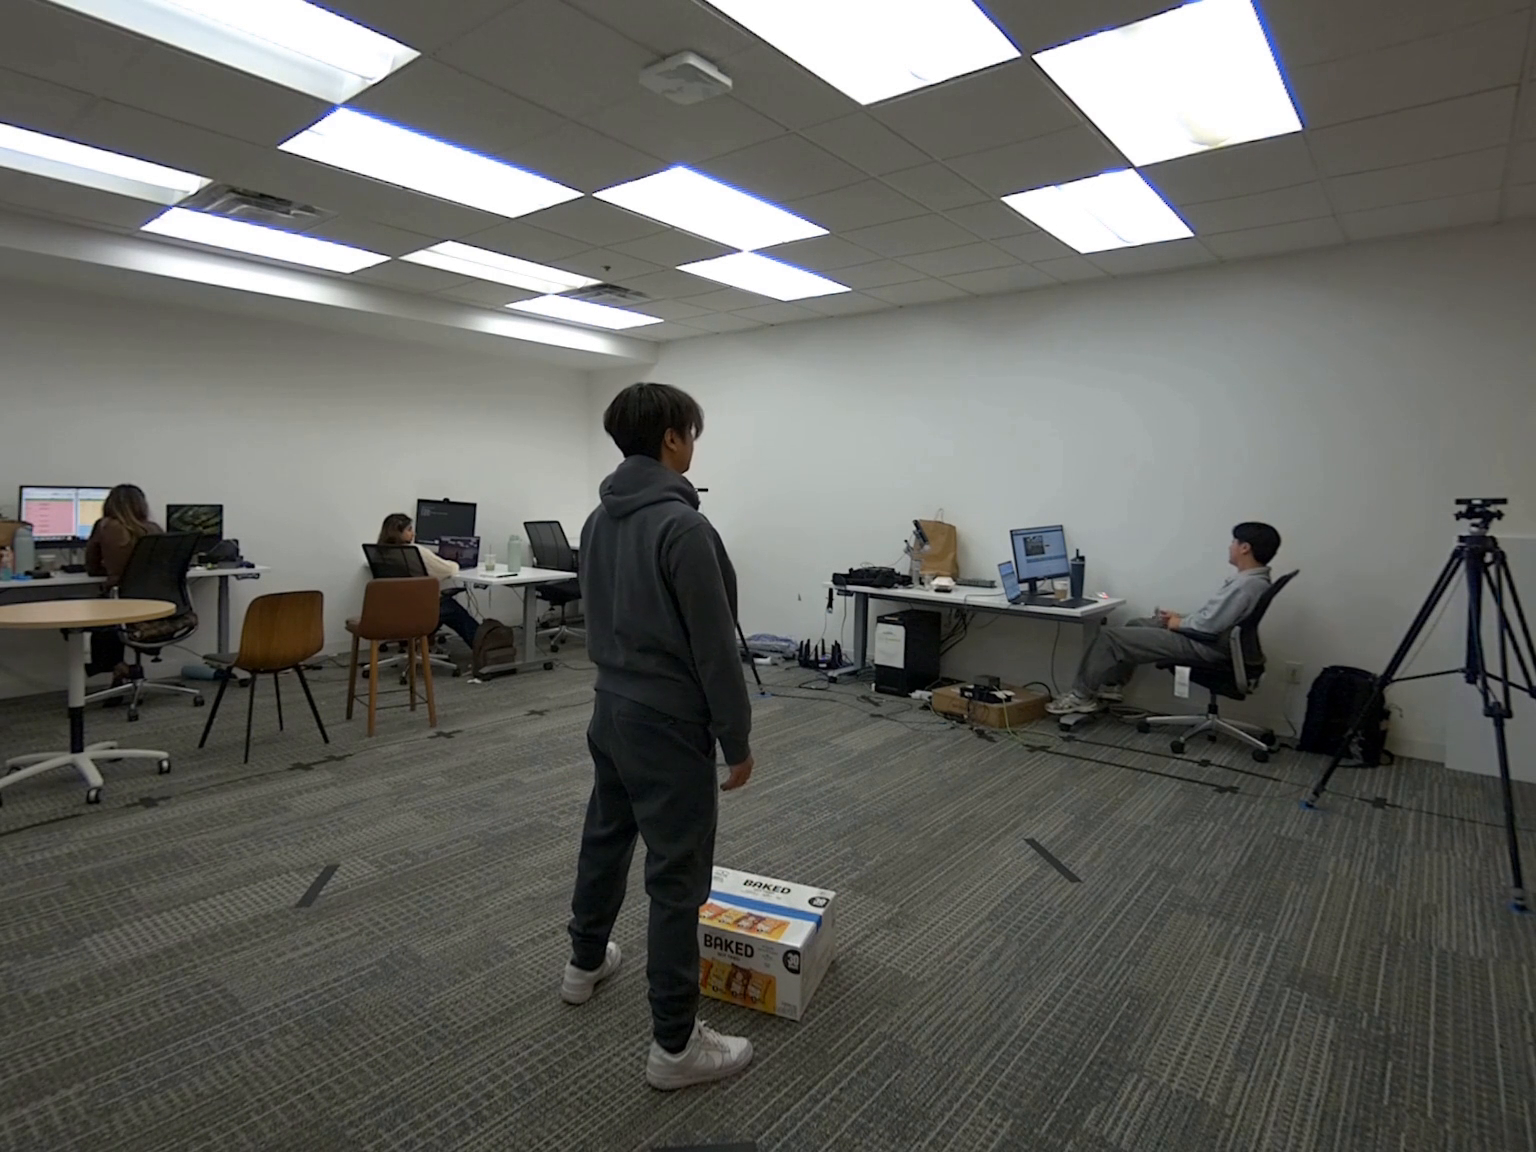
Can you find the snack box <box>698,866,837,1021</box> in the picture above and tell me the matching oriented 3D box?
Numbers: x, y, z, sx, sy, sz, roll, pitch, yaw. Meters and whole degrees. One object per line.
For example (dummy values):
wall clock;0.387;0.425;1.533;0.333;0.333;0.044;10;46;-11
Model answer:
snack box;-0.054;1.036;2.445;0.415;0.205;0.334;3;6;22
